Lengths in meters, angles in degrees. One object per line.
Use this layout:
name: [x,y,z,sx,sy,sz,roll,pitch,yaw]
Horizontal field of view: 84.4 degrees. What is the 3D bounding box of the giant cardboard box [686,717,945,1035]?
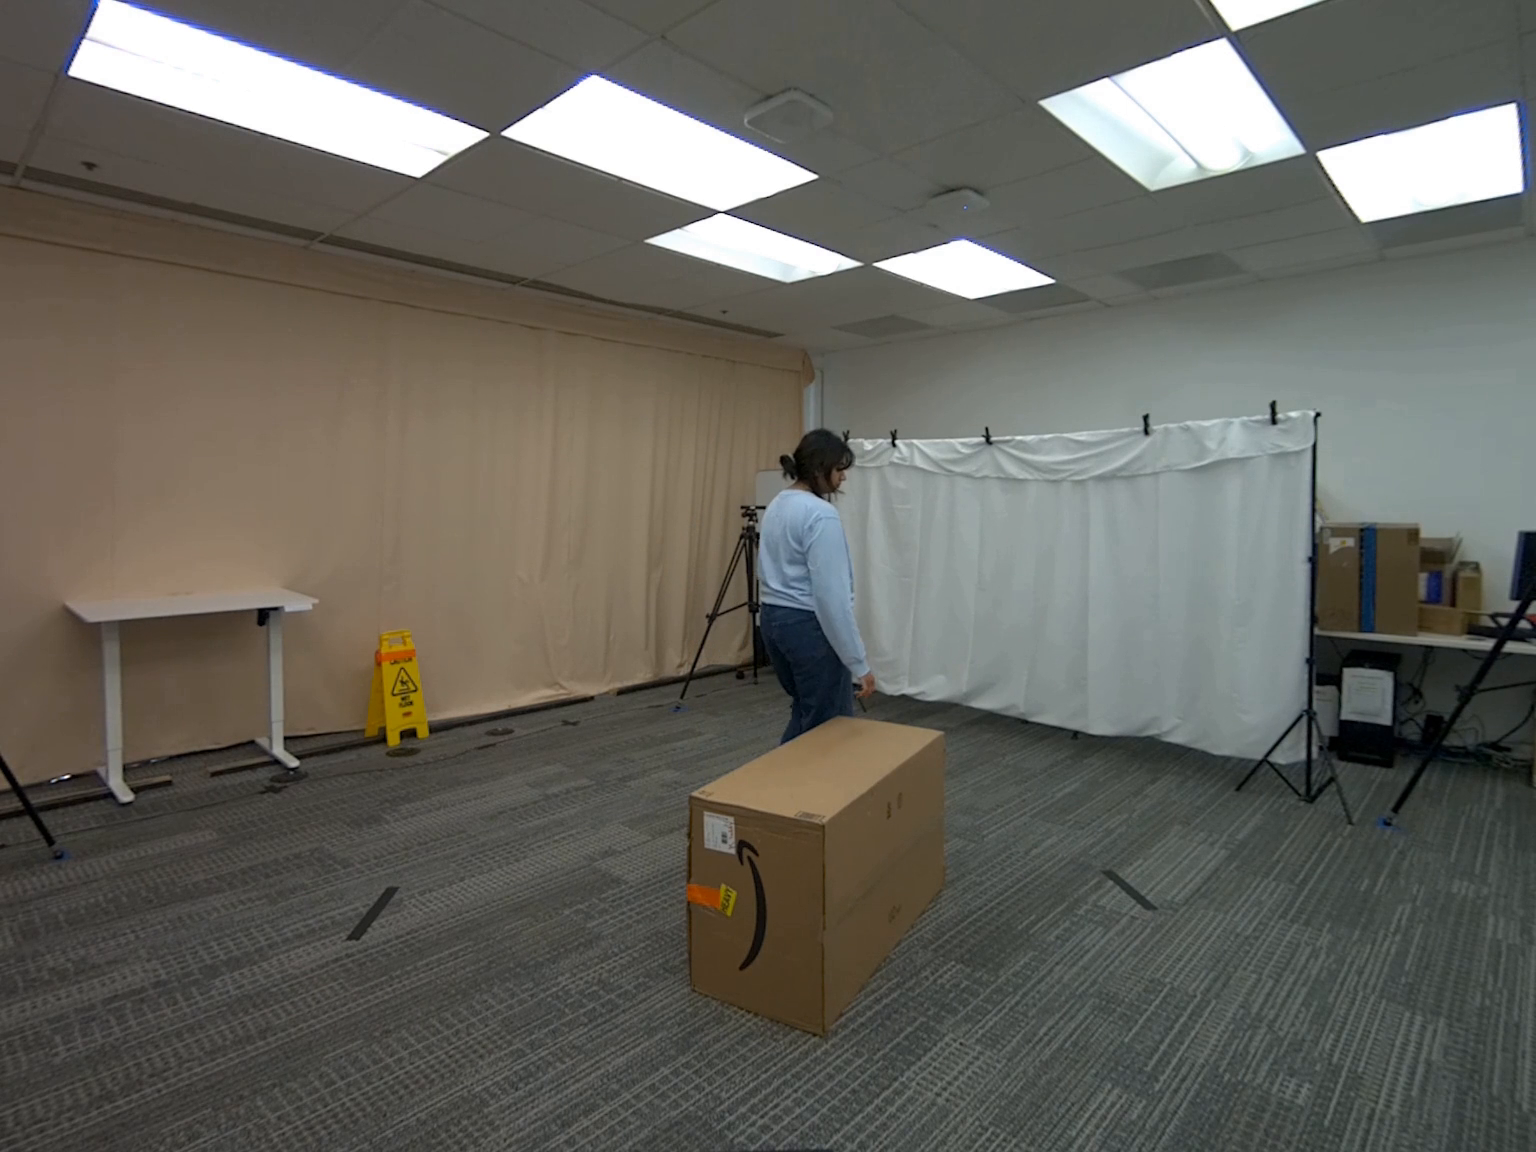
giant cardboard box: [0.207,0.880,2.720,0.460,0.582,0.999,3,5,31]
